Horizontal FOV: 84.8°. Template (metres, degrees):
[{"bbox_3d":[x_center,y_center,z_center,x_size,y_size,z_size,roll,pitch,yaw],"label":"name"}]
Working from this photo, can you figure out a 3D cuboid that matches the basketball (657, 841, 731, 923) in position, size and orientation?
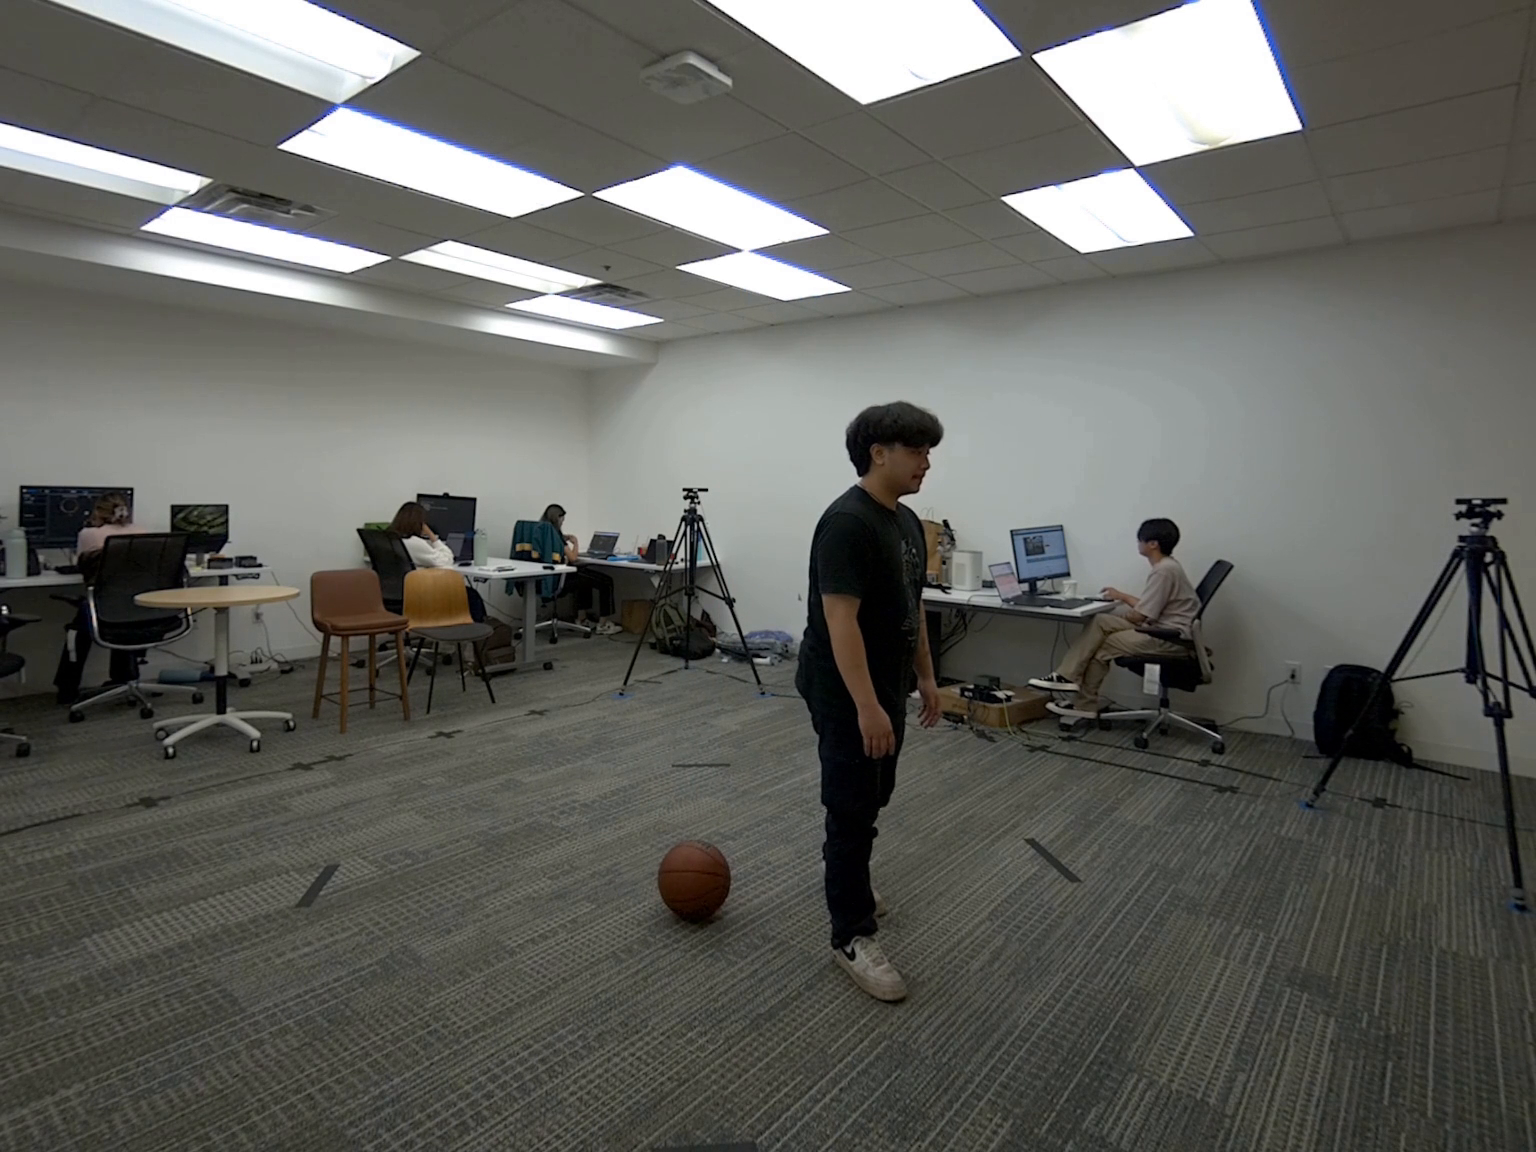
[{"bbox_3d":[-0.252,0.985,2.770,0.235,0.235,0.237,1,4,-2],"label":"basketball"}]
